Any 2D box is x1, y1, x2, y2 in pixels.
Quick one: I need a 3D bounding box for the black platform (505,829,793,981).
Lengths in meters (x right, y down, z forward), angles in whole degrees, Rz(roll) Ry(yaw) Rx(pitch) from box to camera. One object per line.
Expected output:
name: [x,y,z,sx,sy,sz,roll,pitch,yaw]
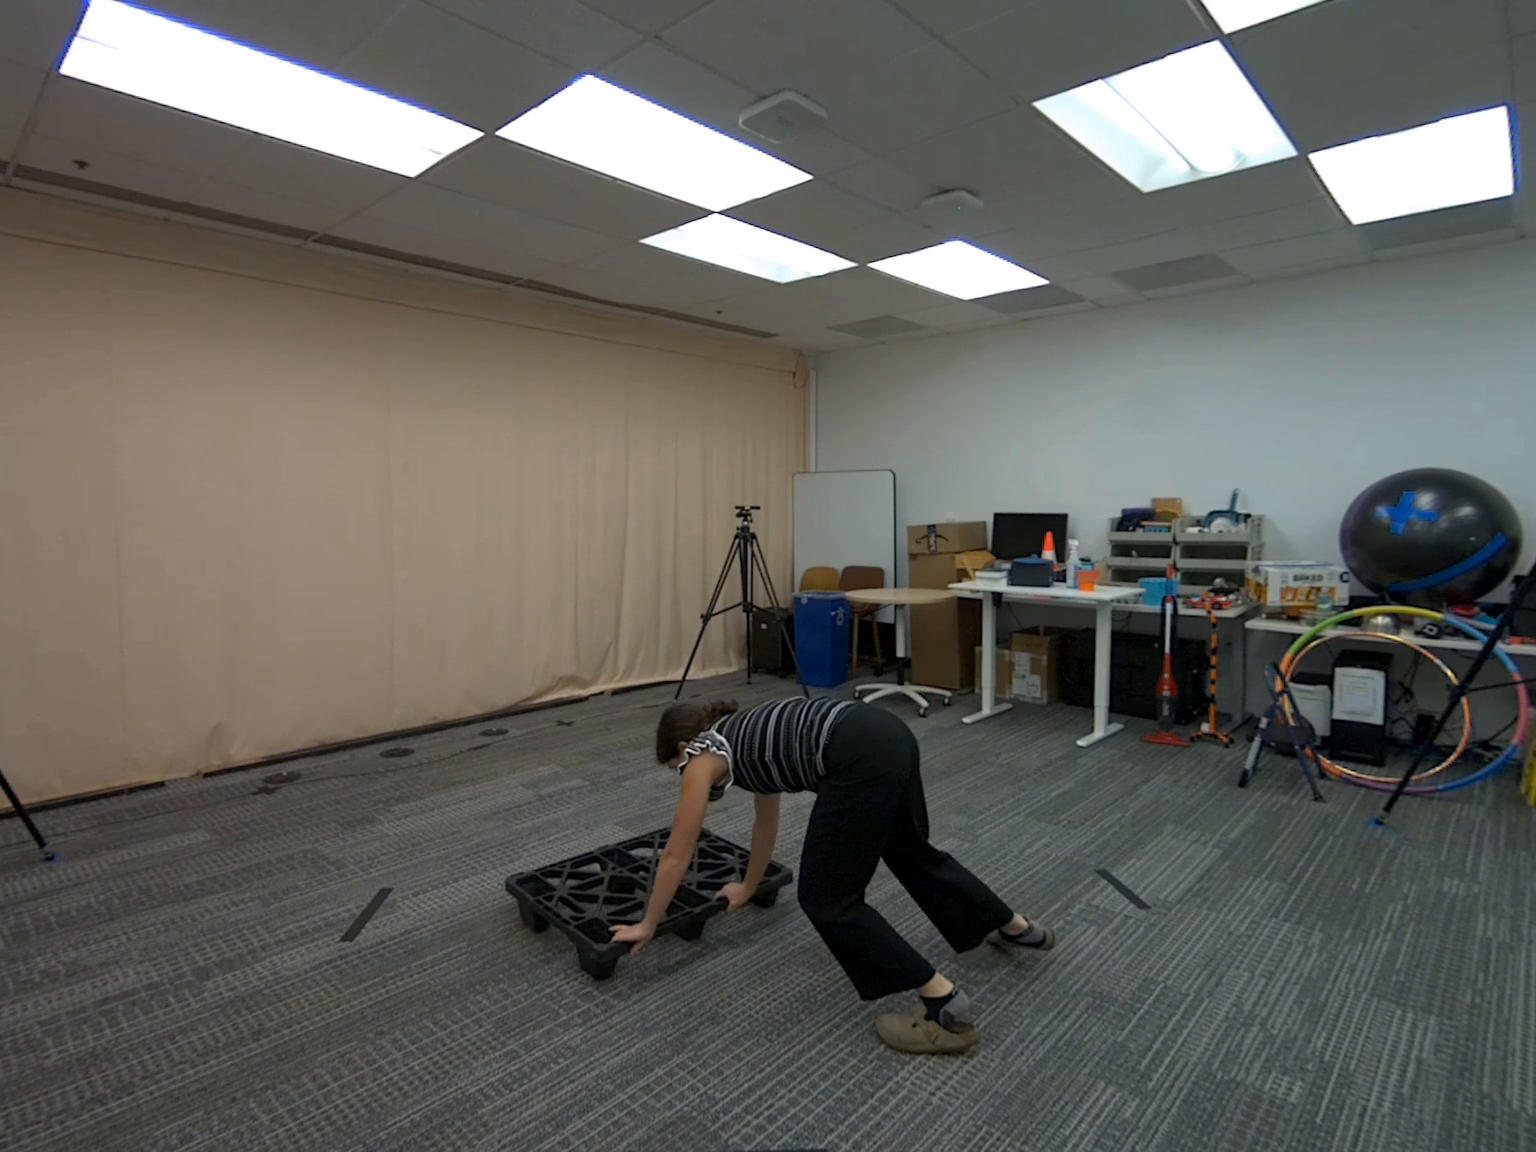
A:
black platform: [-0.403,1.086,2.876,0.781,0.143,0.625,-5,7,-43]
